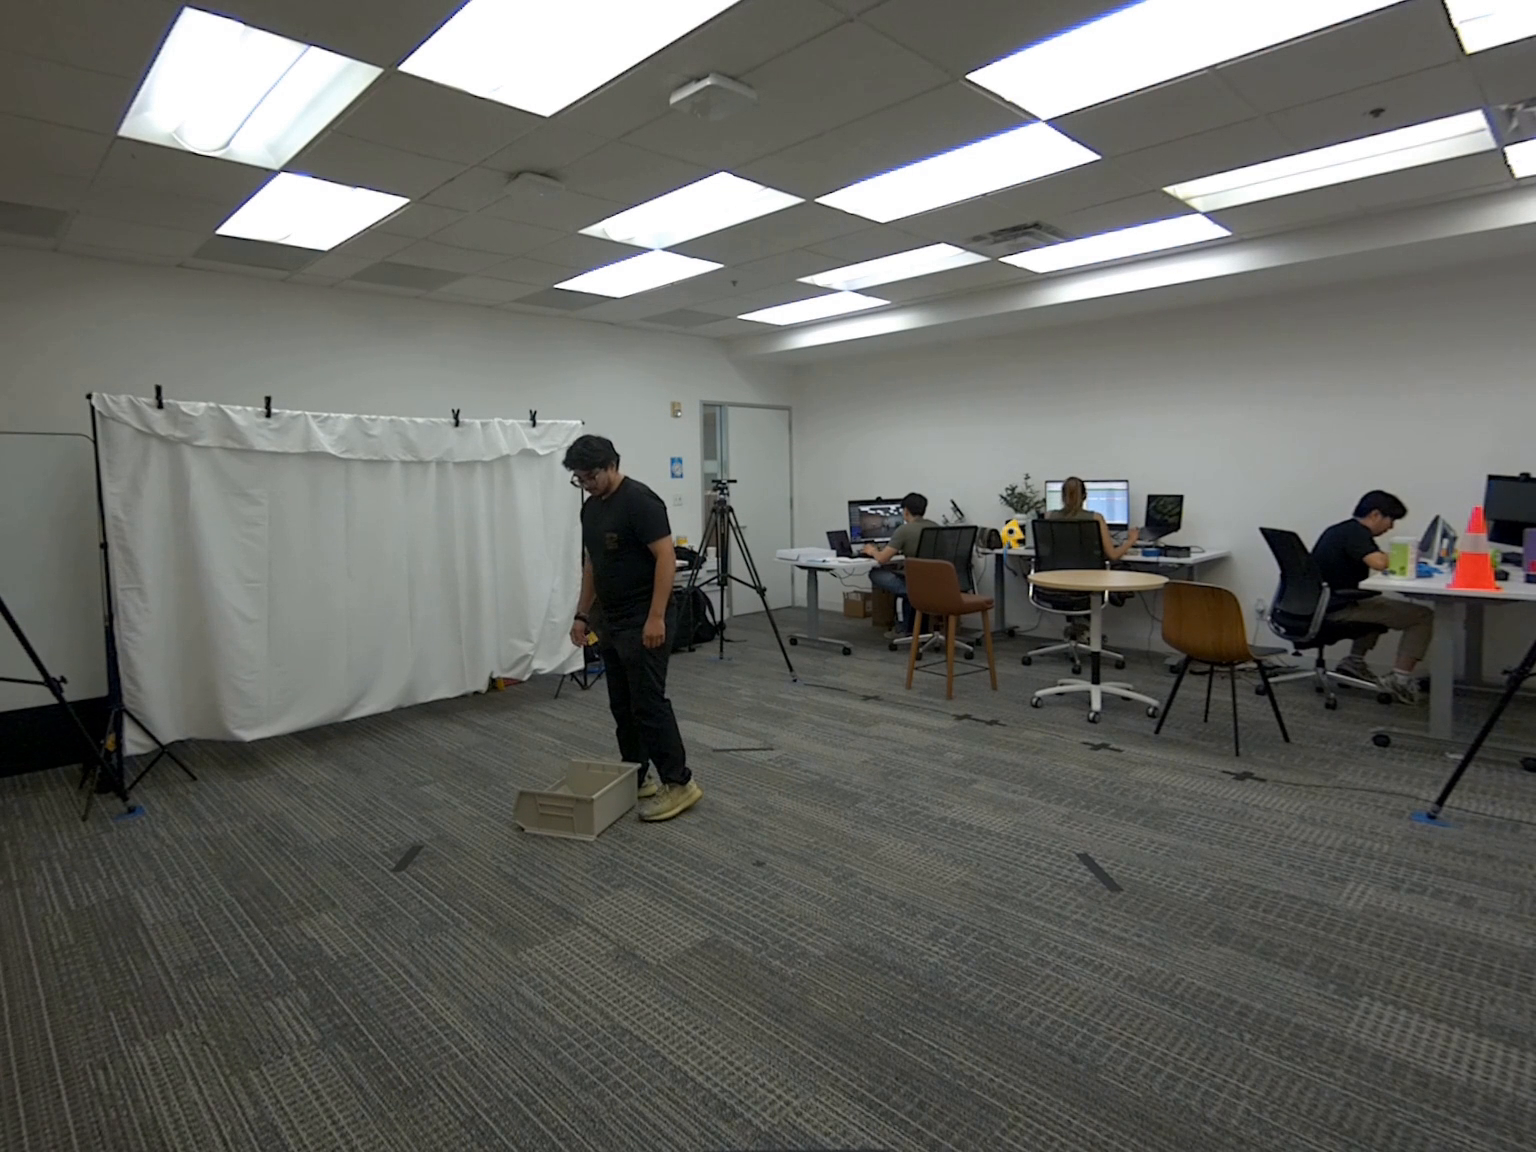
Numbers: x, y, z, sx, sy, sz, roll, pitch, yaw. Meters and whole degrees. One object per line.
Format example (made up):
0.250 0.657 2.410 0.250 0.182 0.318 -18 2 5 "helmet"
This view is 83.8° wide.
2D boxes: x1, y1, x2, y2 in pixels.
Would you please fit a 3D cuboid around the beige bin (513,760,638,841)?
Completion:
-0.786 0.919 3.574 0.385 0.188 0.416 2 6 19 "beige bin"
